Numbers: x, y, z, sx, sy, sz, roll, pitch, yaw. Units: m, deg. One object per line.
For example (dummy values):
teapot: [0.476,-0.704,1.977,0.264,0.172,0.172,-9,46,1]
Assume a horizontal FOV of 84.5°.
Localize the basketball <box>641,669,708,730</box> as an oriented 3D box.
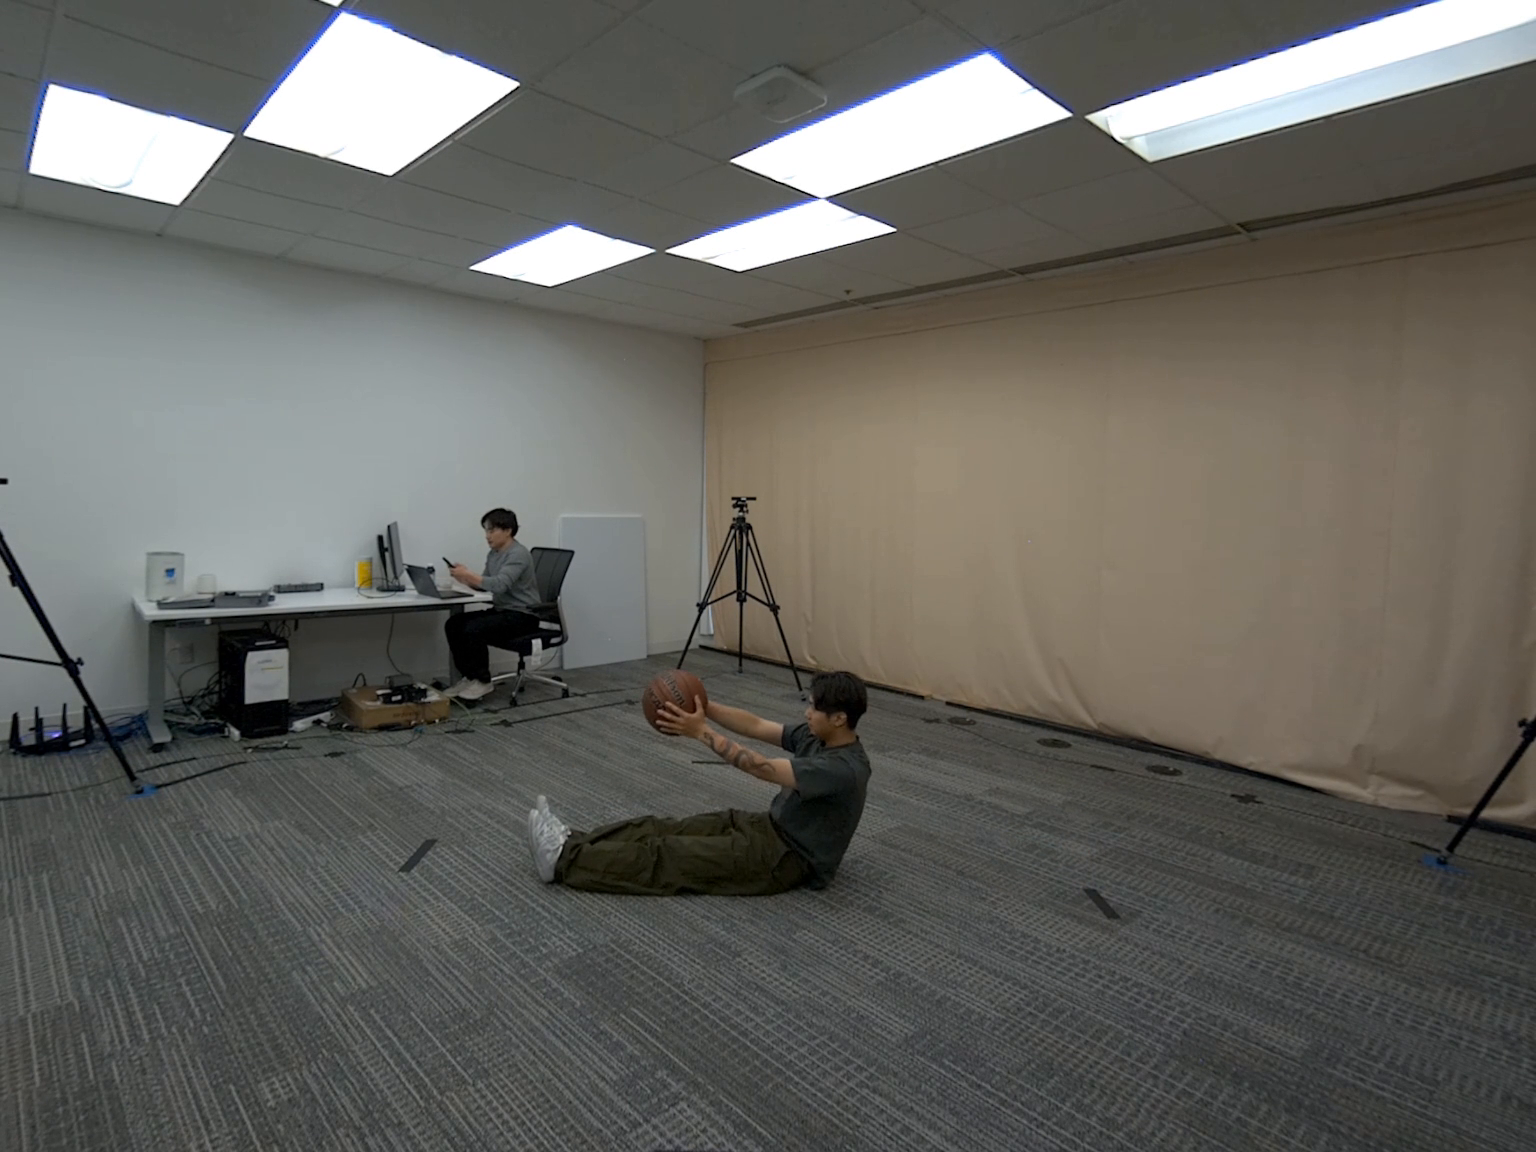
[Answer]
basketball: [-0.343,0.467,3.057,0.236,0.235,0.237,1,4,-1]
